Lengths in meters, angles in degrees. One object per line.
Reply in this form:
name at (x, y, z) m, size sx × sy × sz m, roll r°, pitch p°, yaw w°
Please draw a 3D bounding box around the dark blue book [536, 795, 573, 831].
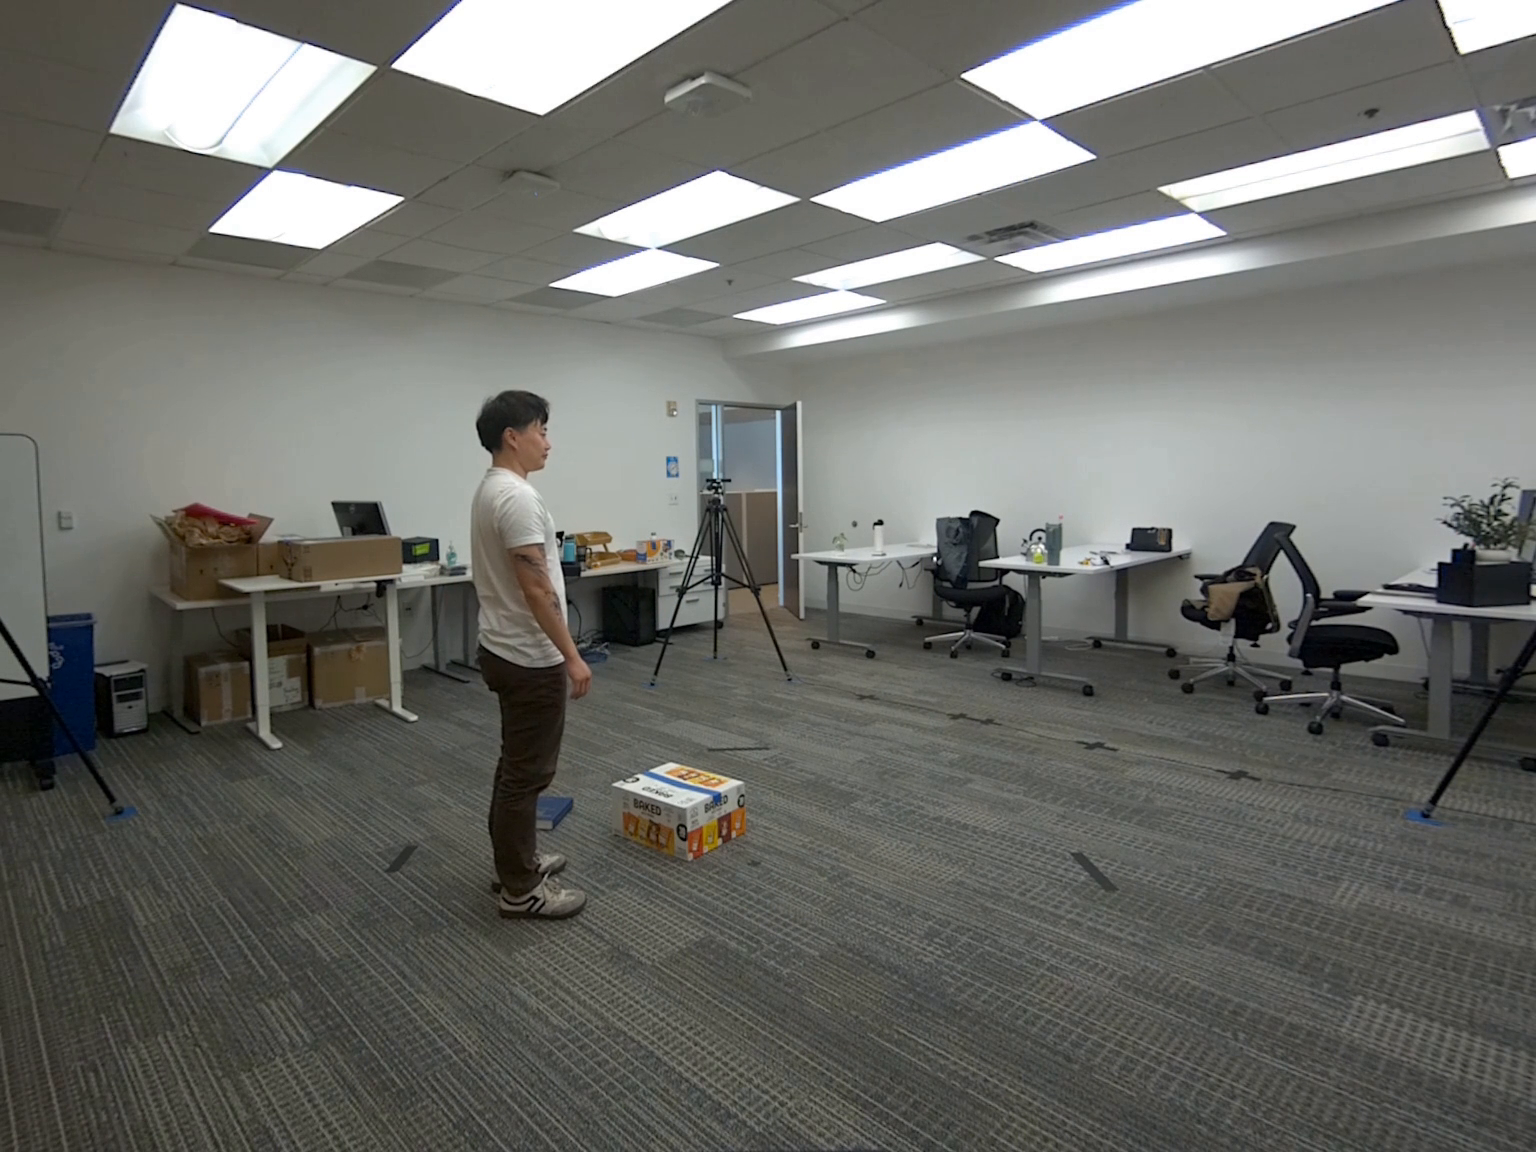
dark blue book at (-0.929, 0.985, 3.568) m, size 0.165 × 0.045 × 0.244 m, roll -1°, pitch 6°, yaw 7°
